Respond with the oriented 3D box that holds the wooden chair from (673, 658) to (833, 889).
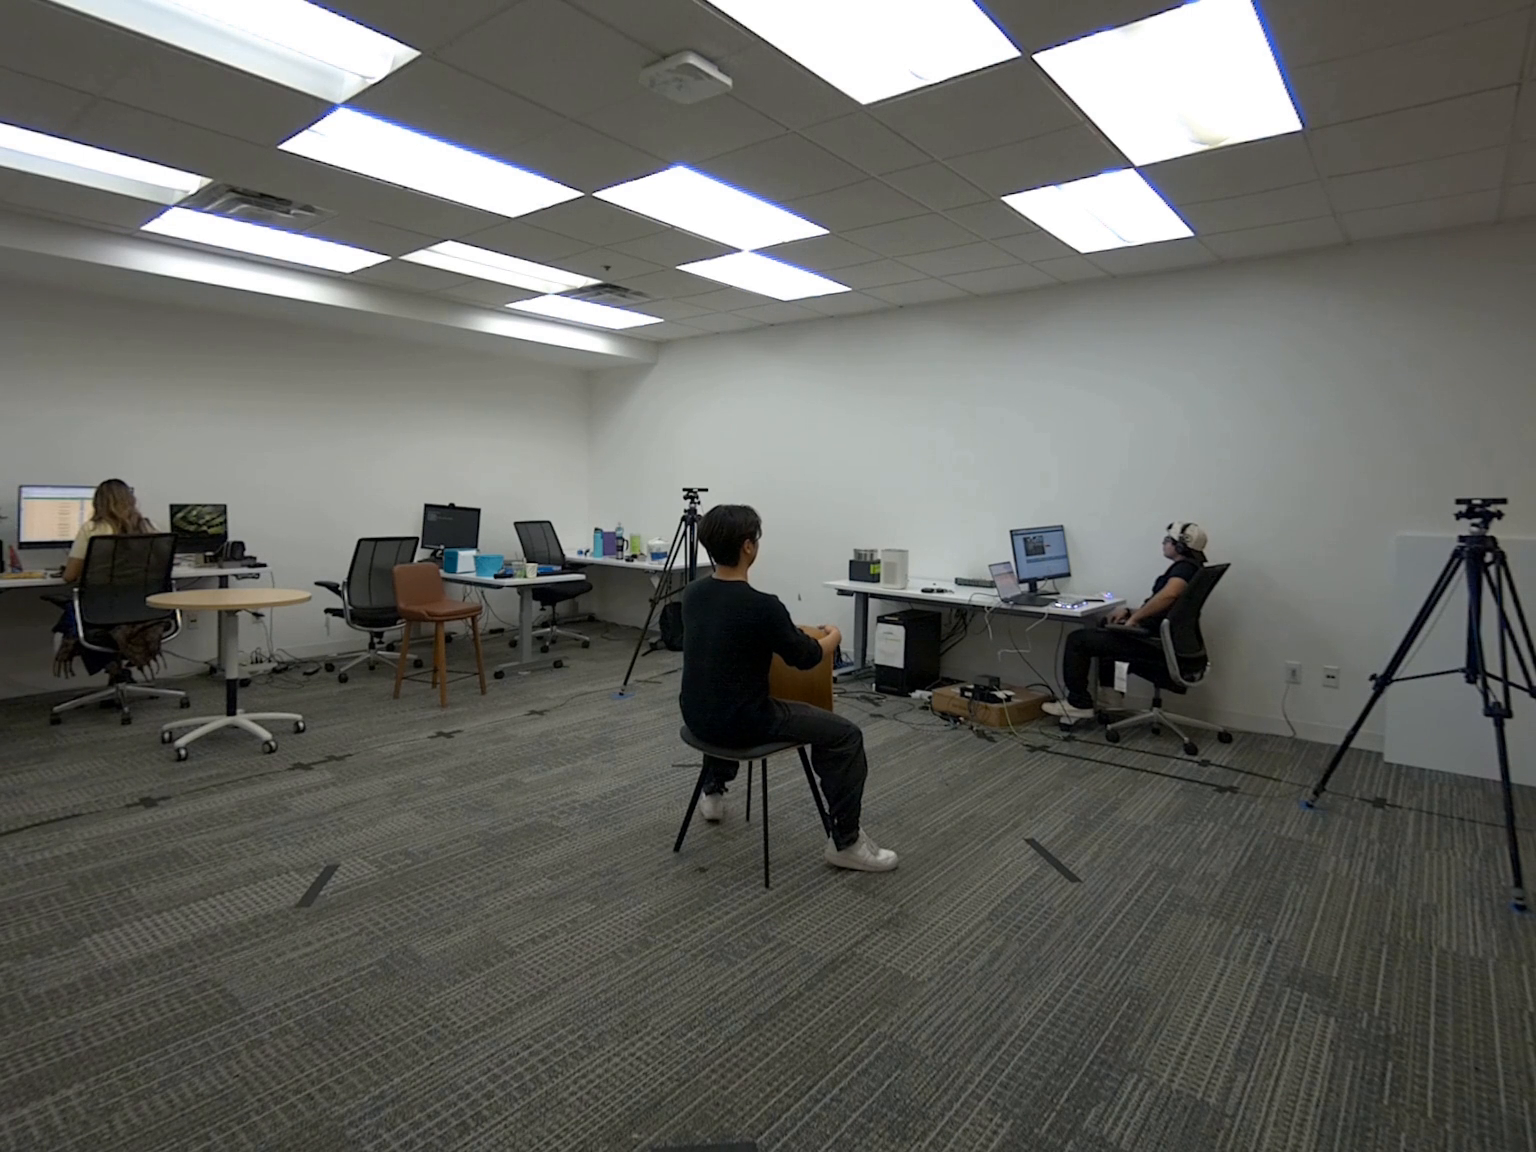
[{"bbox_3d":[-0.054,0.628,3.241,0.494,0.877,0.506,4,1,39],"label":"wooden chair"}]
